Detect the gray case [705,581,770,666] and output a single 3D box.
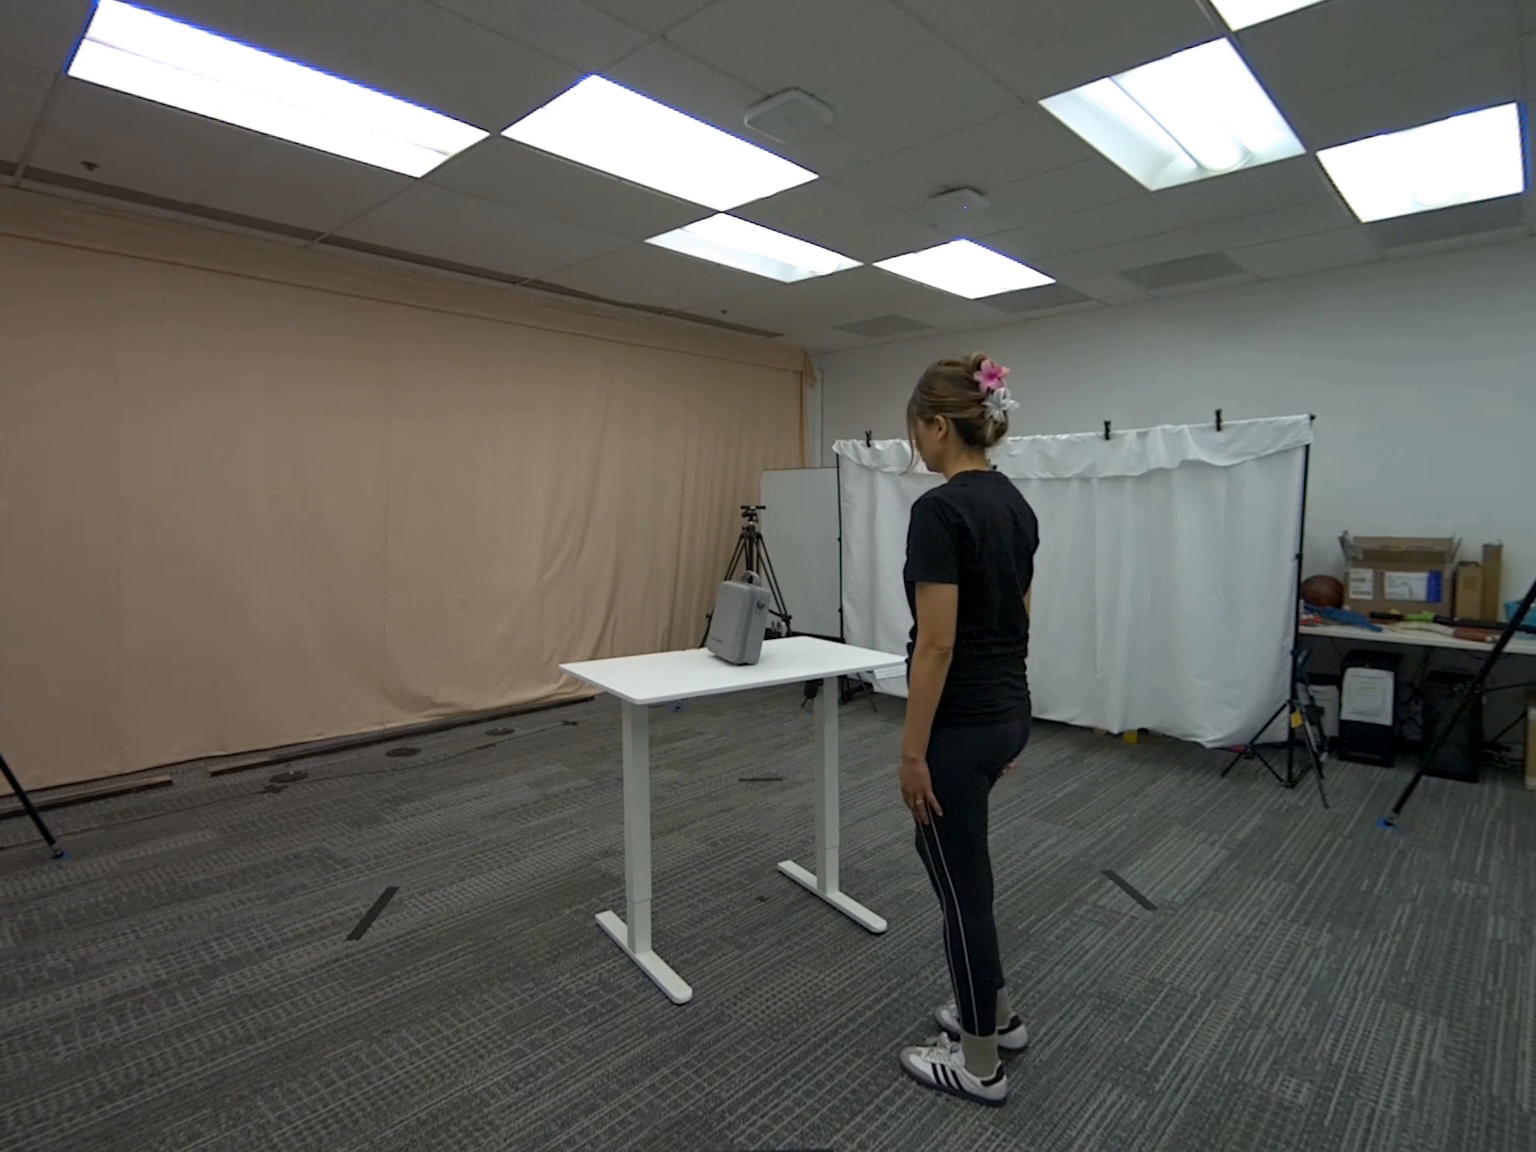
[{"bbox_3d":[-0.097,0.149,2.780,0.102,0.260,0.263,8,1,-22],"label":"gray case"}]
